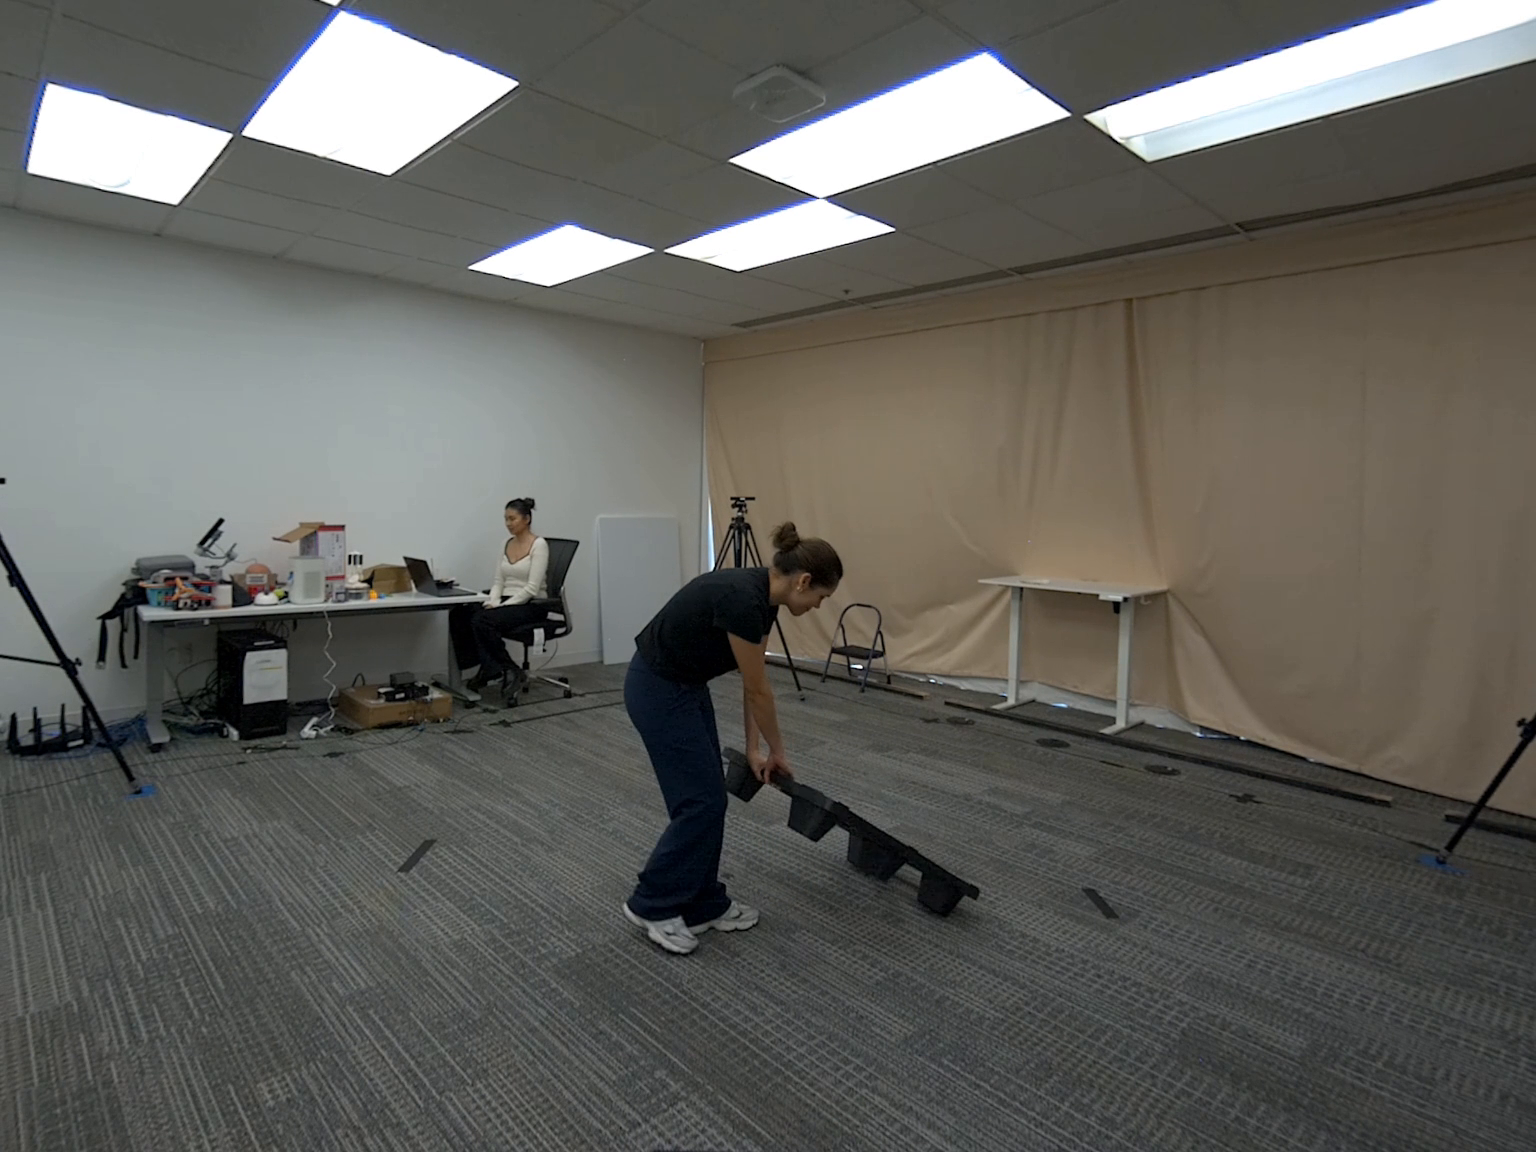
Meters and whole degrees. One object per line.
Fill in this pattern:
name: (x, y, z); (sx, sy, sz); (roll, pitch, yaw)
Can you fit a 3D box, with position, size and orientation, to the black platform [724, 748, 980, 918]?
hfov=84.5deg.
black platform: (0.249, 0.882, 2.858); (0.783, 0.144, 0.620); (39, -17, -30)
